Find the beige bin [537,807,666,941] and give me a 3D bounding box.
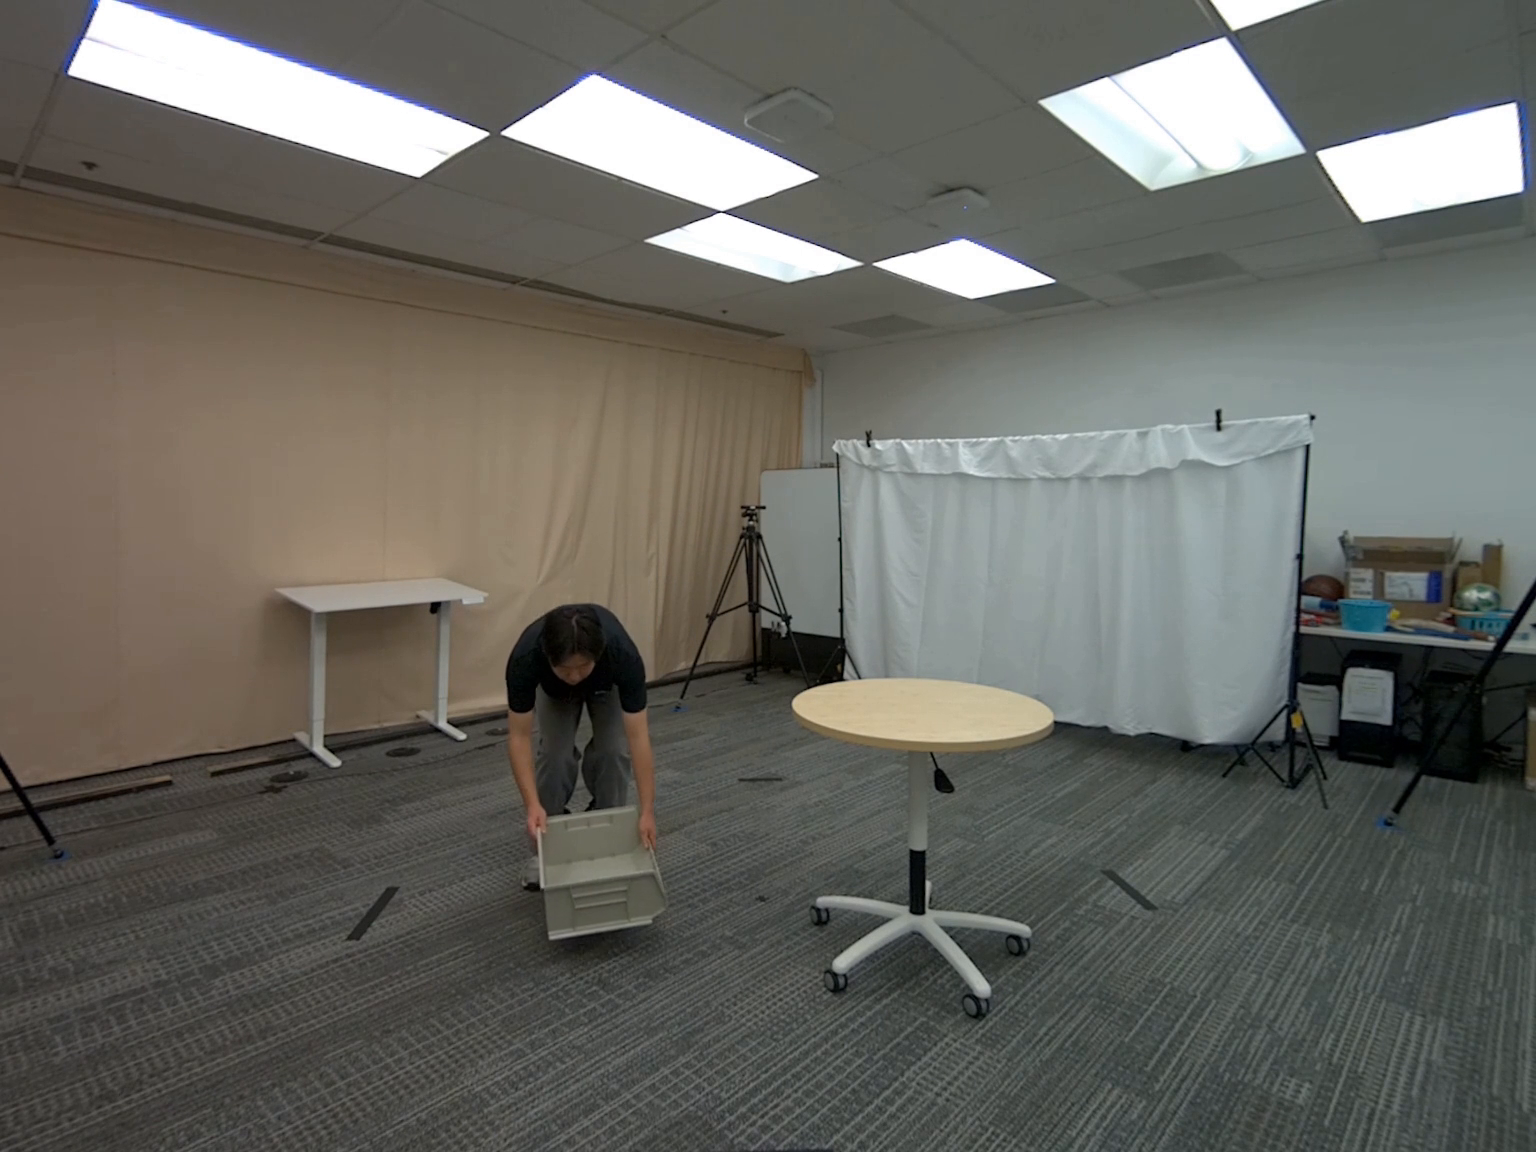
[{"bbox_3d":[-0.552,0.950,2.732,0.372,0.187,0.431,-5,13,-14],"label":"beige bin"}]
